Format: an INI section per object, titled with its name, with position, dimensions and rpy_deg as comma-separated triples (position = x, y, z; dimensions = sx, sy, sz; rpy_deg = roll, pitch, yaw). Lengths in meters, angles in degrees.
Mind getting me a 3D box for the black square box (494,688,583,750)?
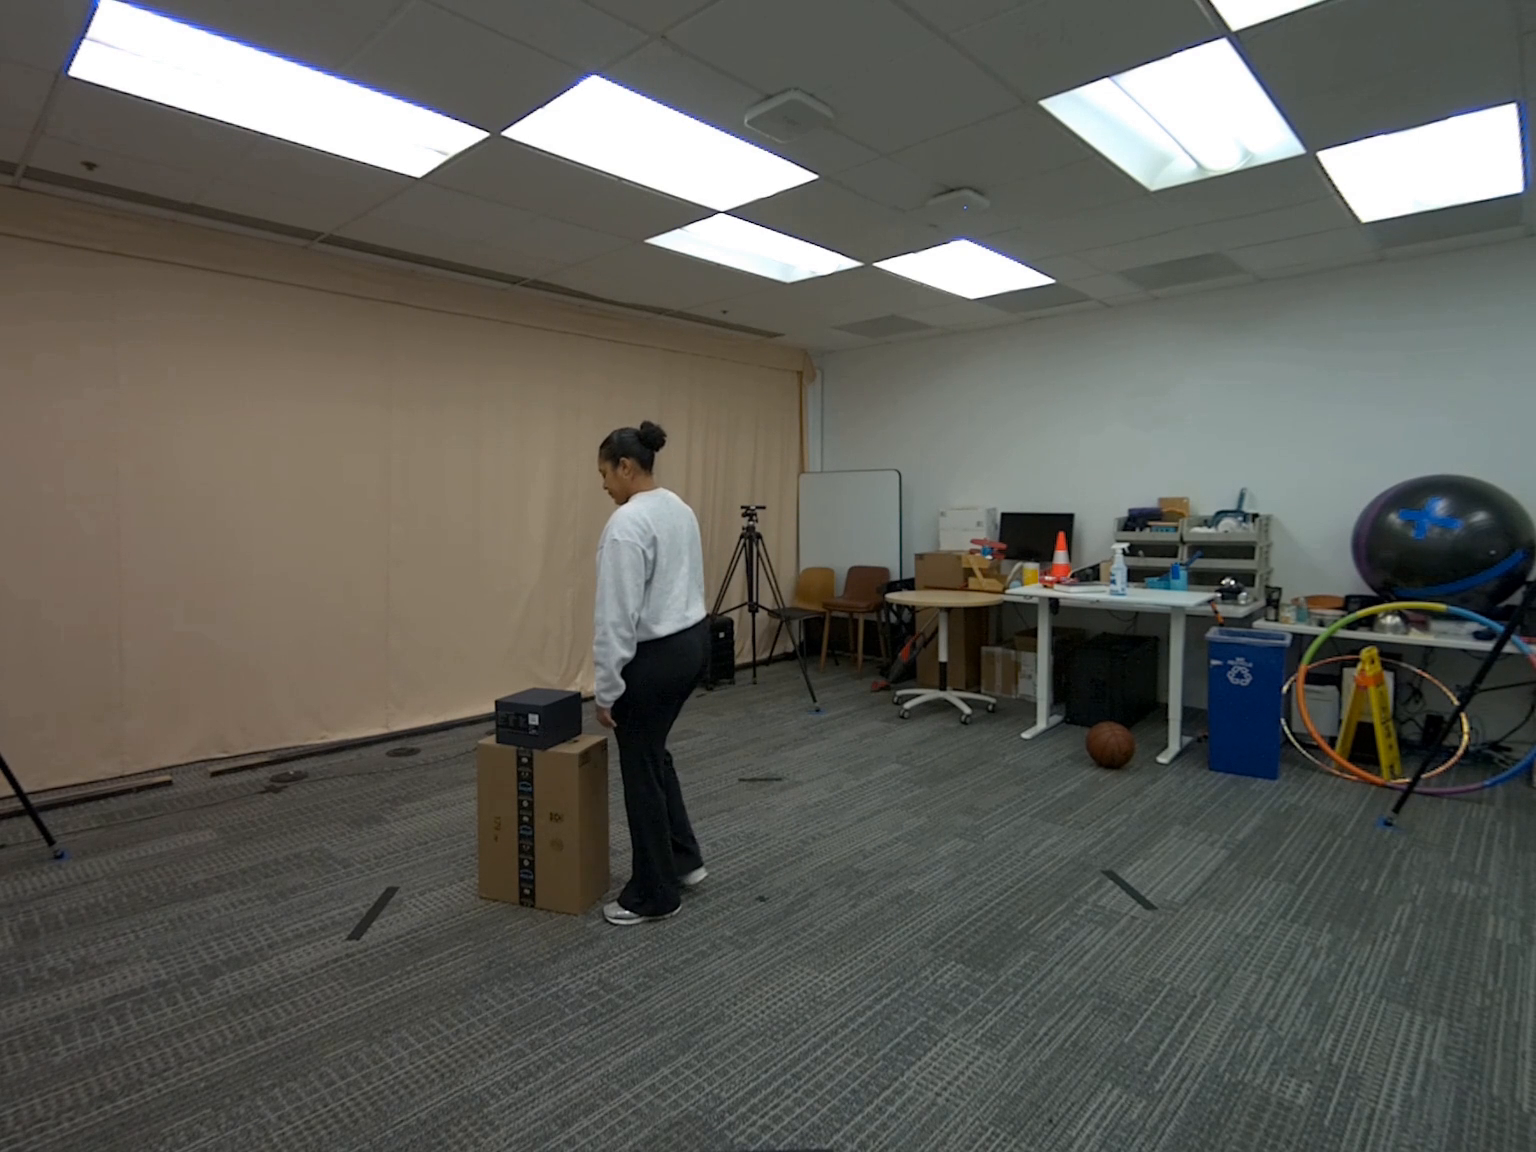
[black square box]
position = -0.816, 0.503, 3.013
dimensions = 0.222, 0.155, 0.223
rpy_deg = 1, 5, 23
